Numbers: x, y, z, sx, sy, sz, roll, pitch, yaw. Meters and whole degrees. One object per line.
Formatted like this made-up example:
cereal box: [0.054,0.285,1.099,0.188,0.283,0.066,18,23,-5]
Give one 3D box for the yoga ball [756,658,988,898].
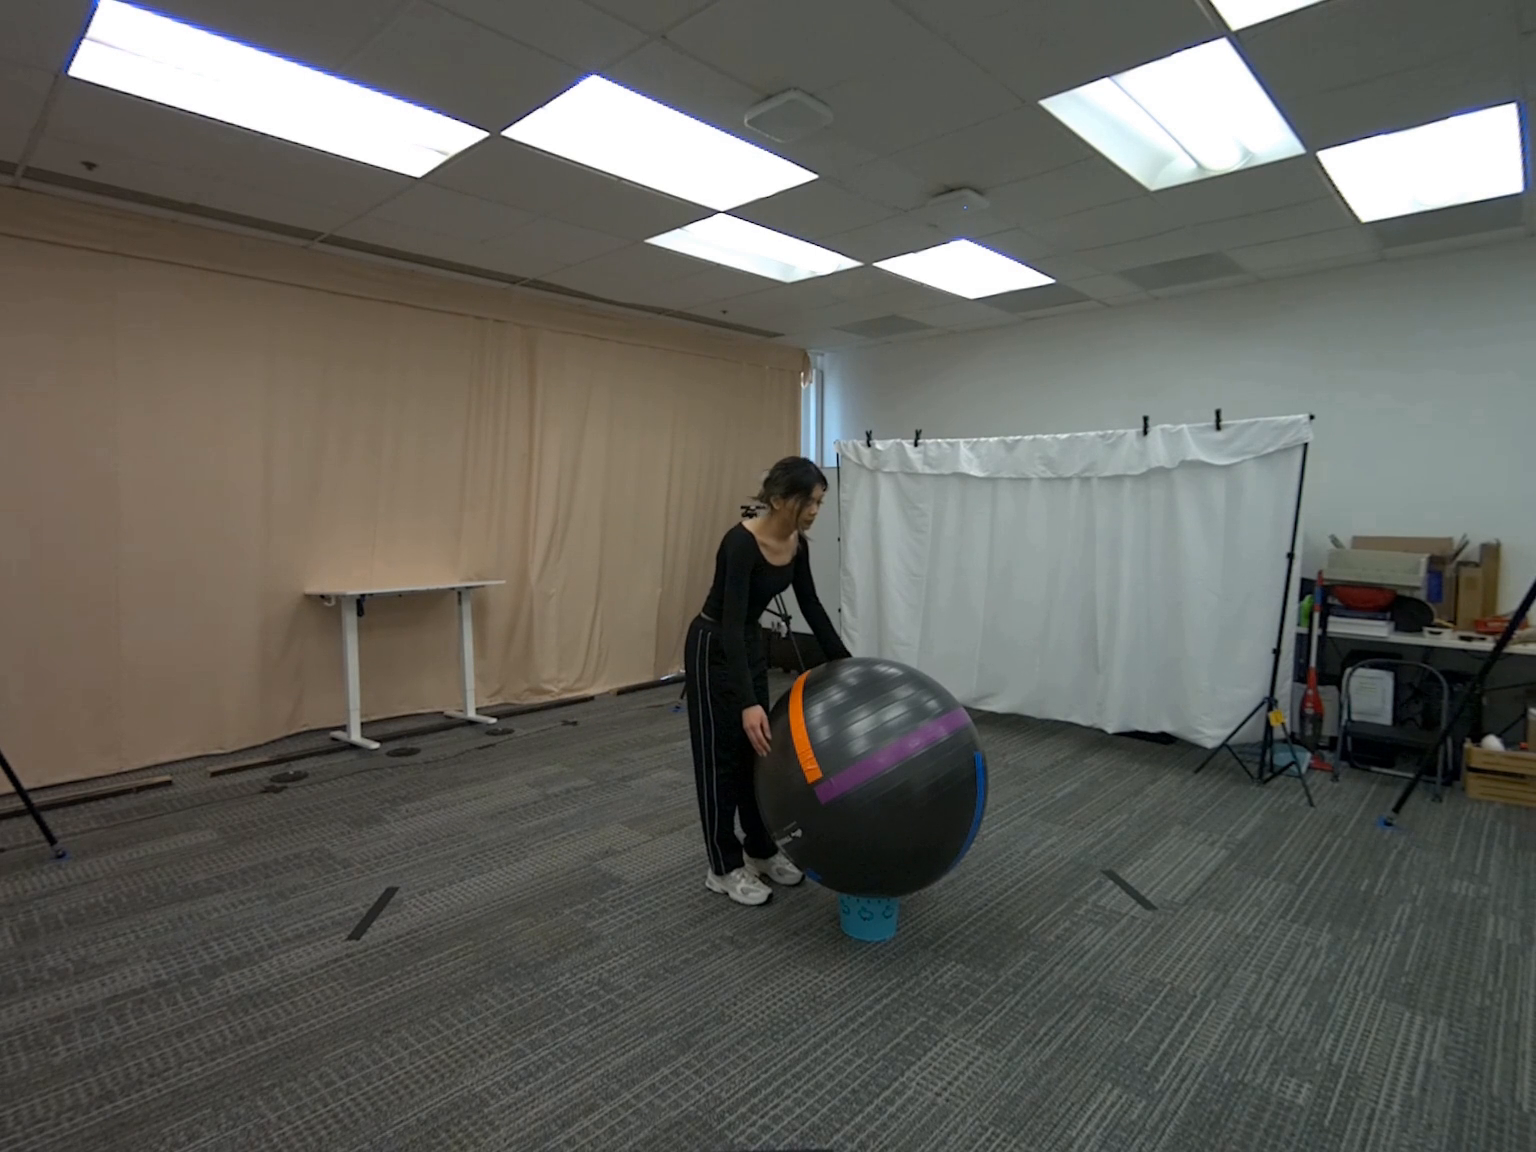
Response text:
yoga ball: [0.337,0.655,2.759,0.757,0.756,0.760,0,4,-2]
